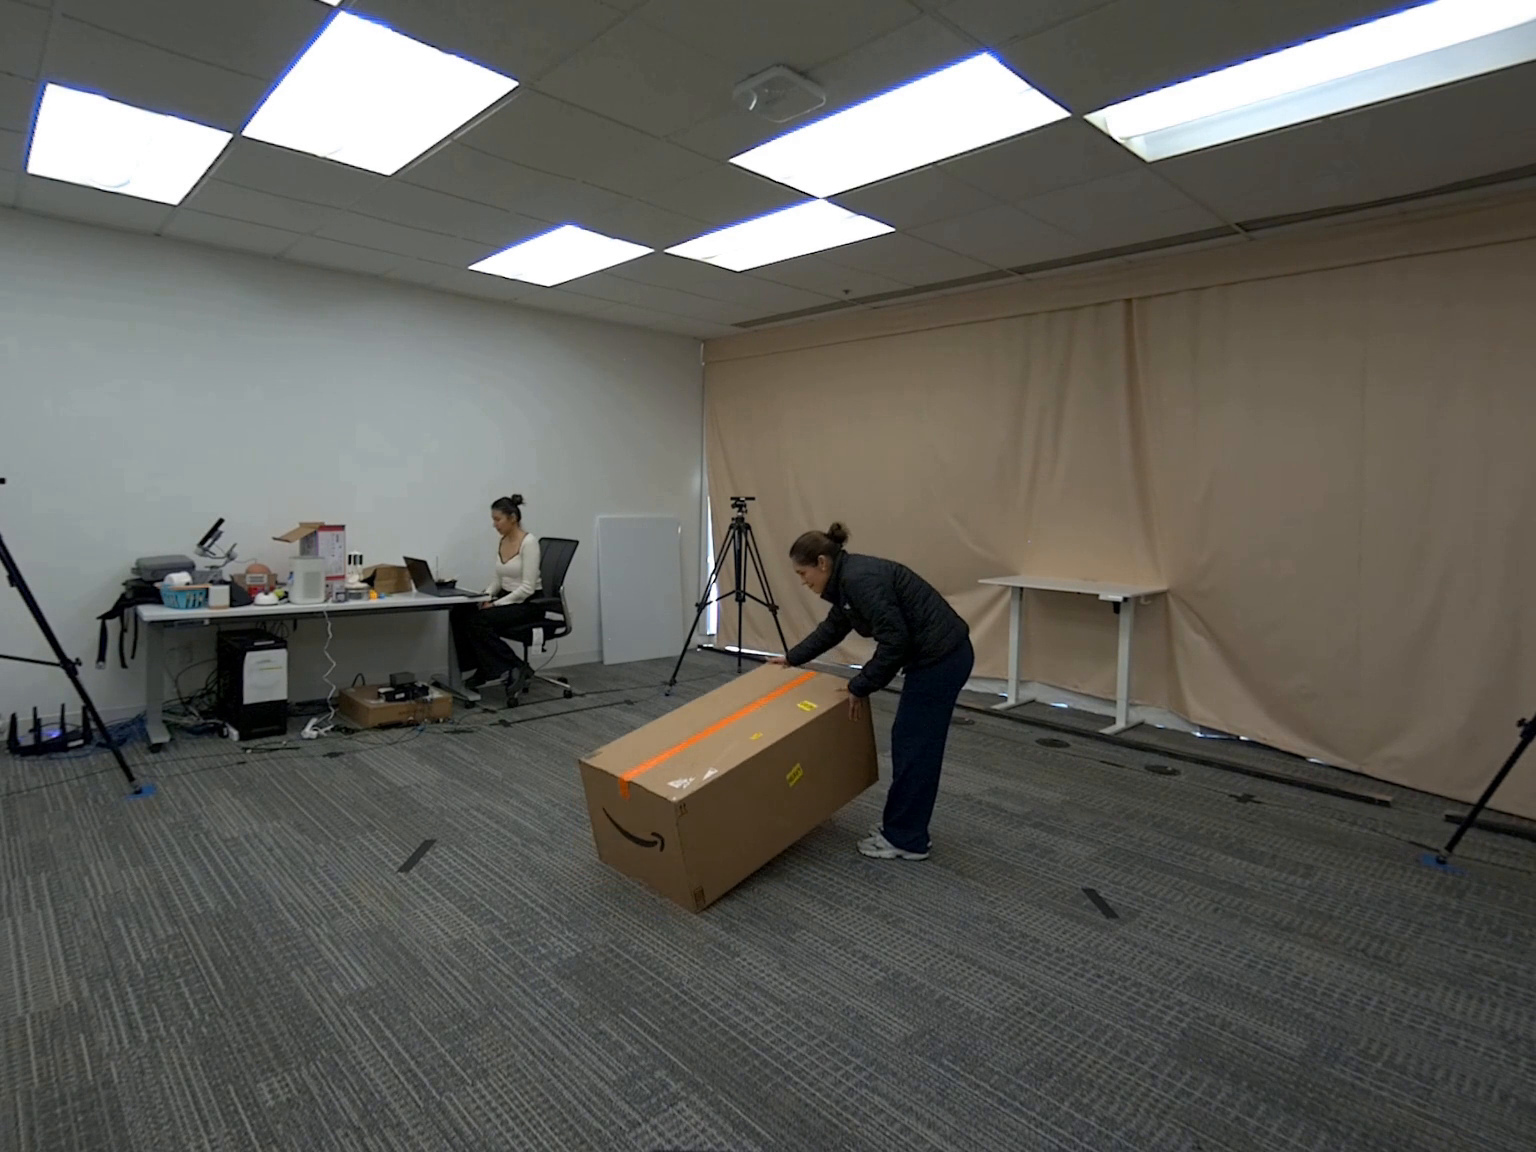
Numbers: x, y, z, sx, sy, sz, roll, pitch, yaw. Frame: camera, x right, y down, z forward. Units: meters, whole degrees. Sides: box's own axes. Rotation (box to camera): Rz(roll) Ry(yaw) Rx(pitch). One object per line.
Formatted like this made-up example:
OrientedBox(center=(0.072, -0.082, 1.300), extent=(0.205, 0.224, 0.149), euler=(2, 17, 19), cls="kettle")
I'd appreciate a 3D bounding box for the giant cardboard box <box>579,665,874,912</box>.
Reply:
OrientedBox(center=(-0.164, 0.771, 3.282), extent=(0.592, 0.421, 1.011), euler=(5, 19, 40), cls="giant cardboard box")
